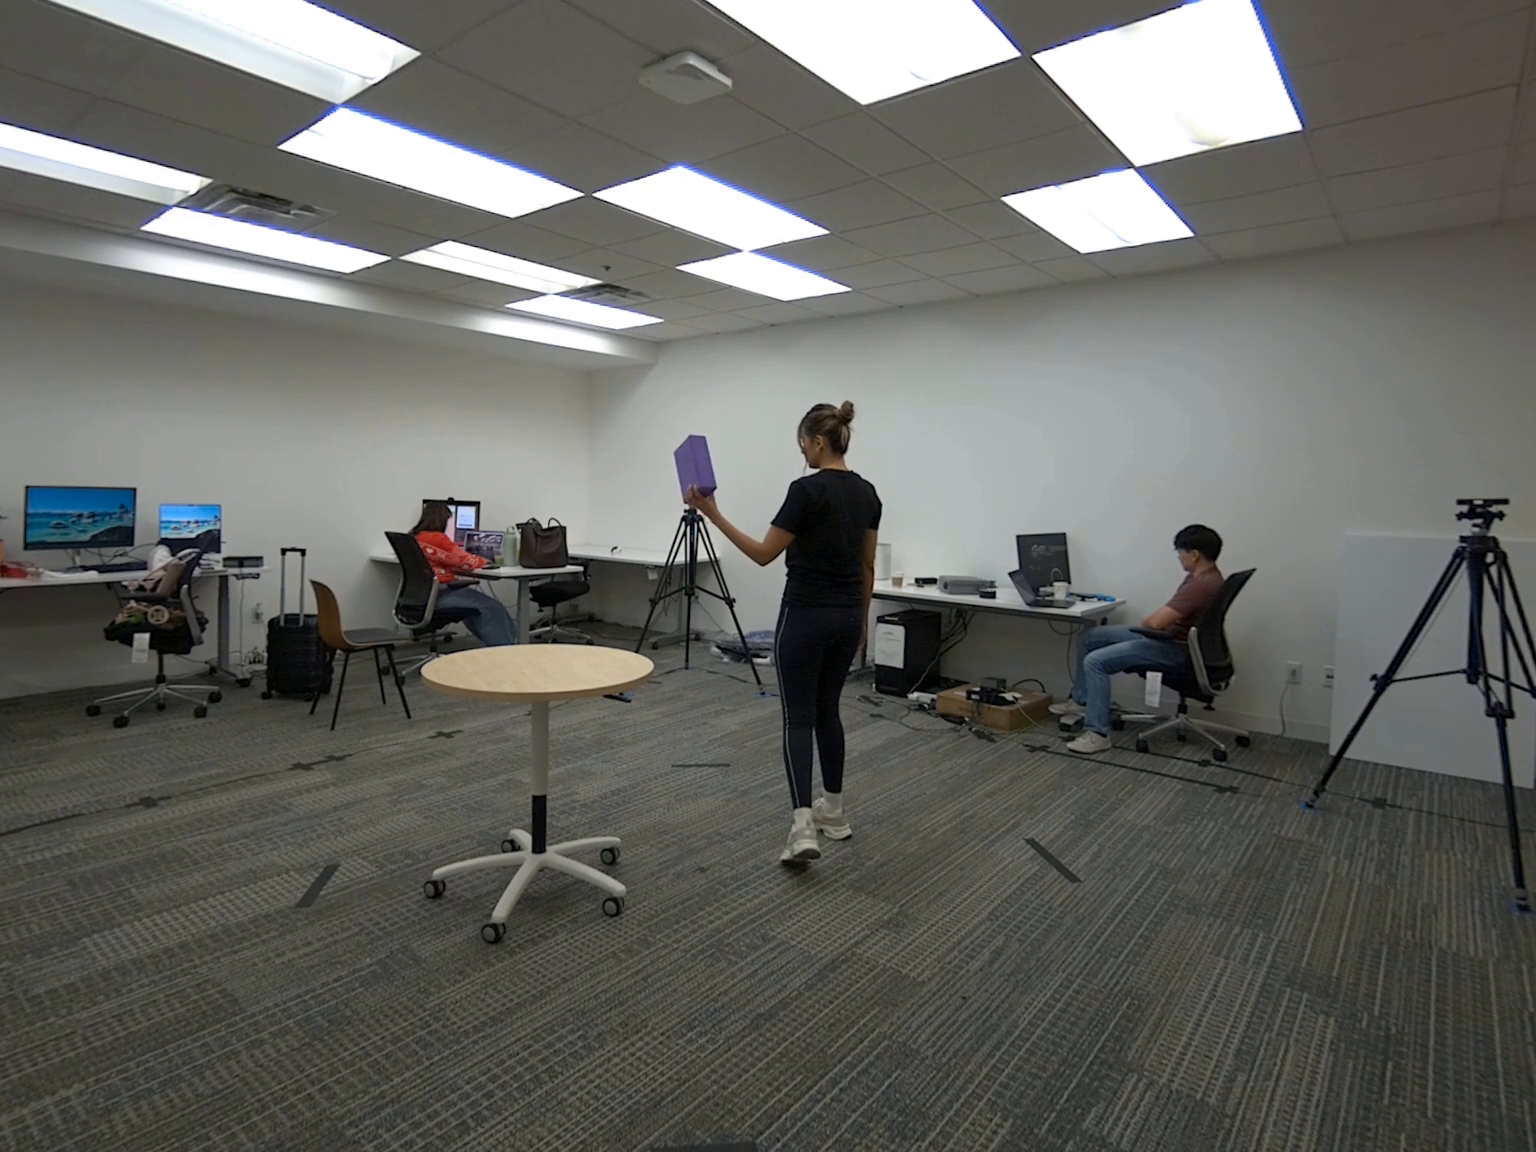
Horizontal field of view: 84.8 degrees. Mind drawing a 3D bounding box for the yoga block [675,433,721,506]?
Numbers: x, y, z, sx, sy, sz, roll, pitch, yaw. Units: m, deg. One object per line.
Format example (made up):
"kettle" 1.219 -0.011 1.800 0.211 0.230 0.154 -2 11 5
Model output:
"yoga block" -0.271 -0.405 3.214 0.074 0.234 0.150 2 -23 -32
